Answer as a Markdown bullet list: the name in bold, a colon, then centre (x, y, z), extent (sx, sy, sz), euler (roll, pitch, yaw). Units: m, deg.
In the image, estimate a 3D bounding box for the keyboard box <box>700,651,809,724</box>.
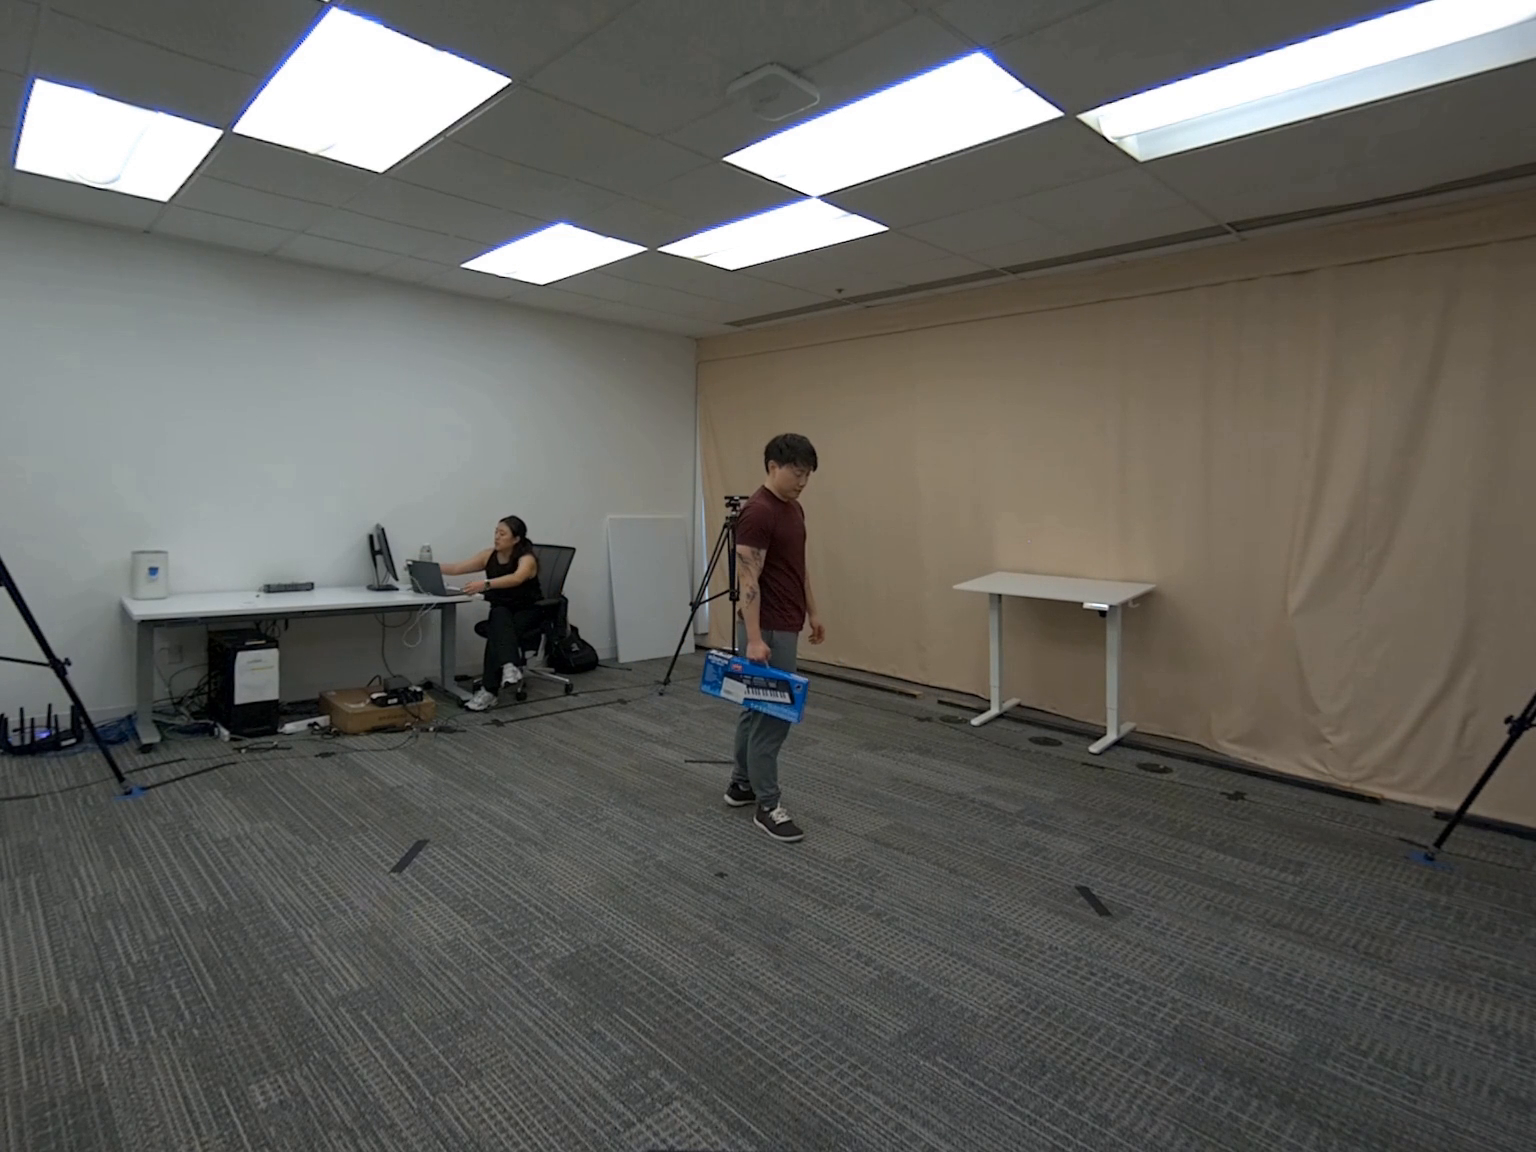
- **keyboard box**: centre (-0.062, 0.444, 3.398), extent (0.445, 0.175, 0.058), euler (15, 11, 21)
